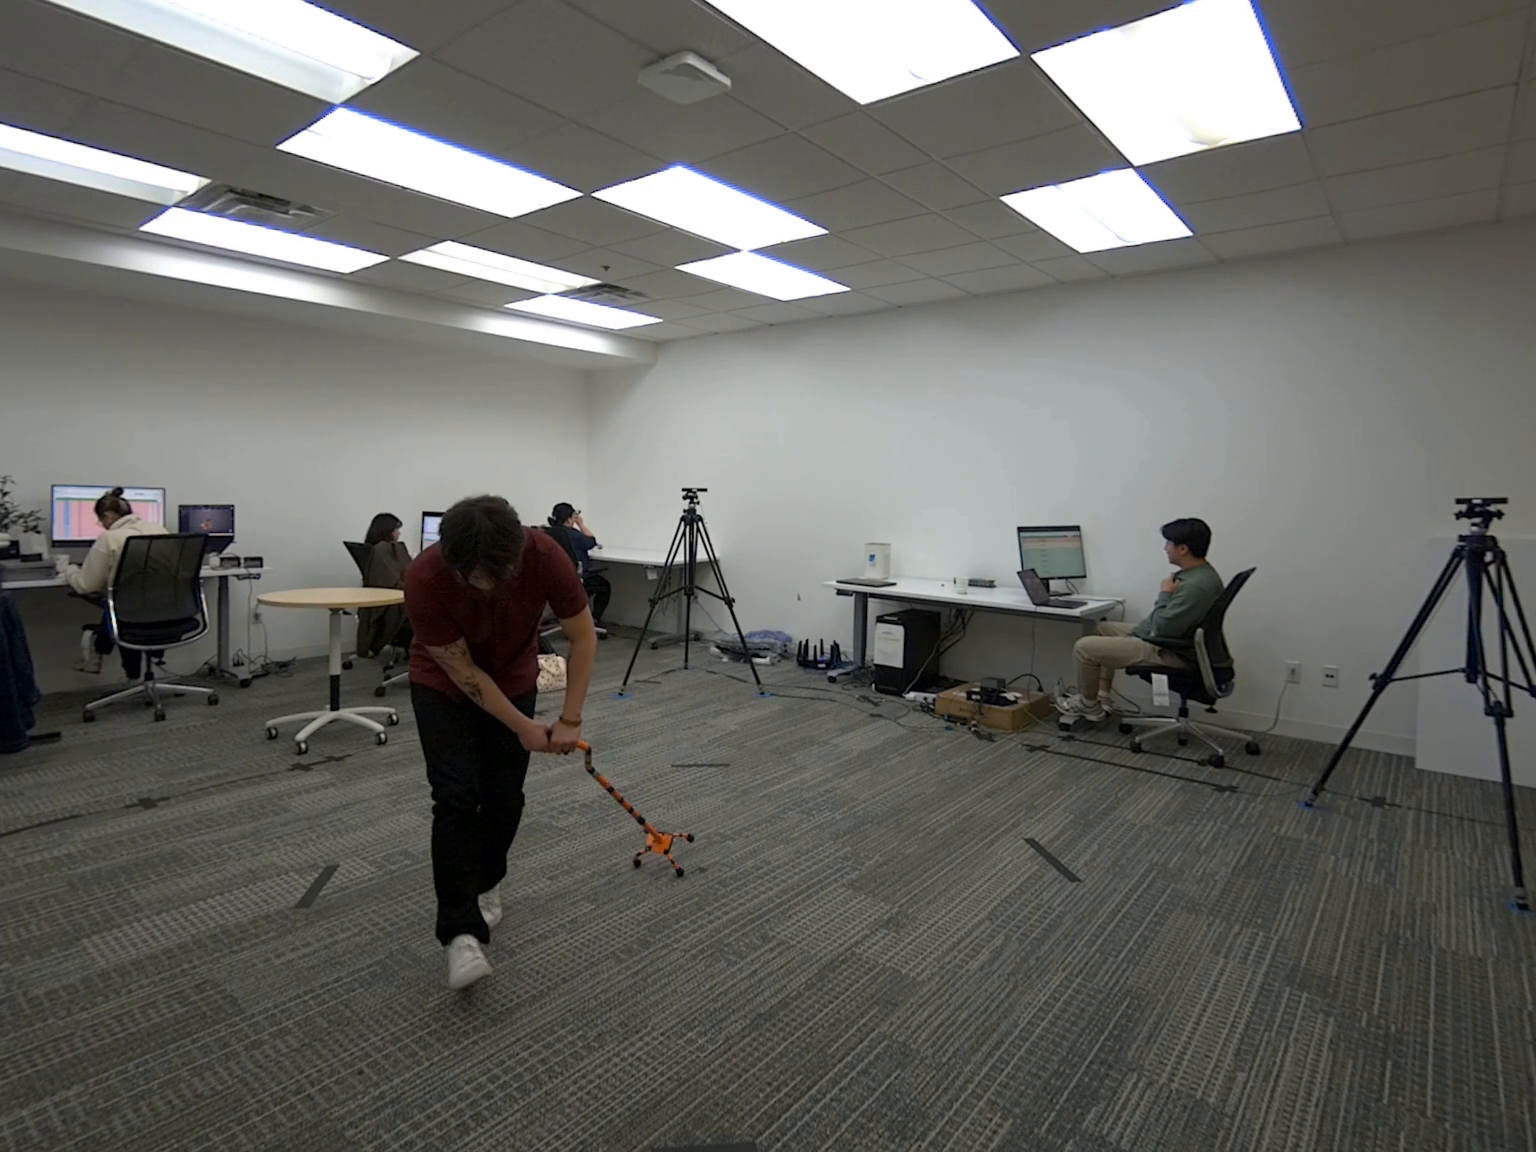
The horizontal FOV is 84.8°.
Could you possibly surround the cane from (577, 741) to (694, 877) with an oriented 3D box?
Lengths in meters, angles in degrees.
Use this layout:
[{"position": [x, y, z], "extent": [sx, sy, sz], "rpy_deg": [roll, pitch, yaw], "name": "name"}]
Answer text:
[{"position": [-0.506, 0.750, 2.802], "extent": [0.211, 0.154, 0.872], "rpy_deg": [2, -36, 21], "name": "cane"}]
